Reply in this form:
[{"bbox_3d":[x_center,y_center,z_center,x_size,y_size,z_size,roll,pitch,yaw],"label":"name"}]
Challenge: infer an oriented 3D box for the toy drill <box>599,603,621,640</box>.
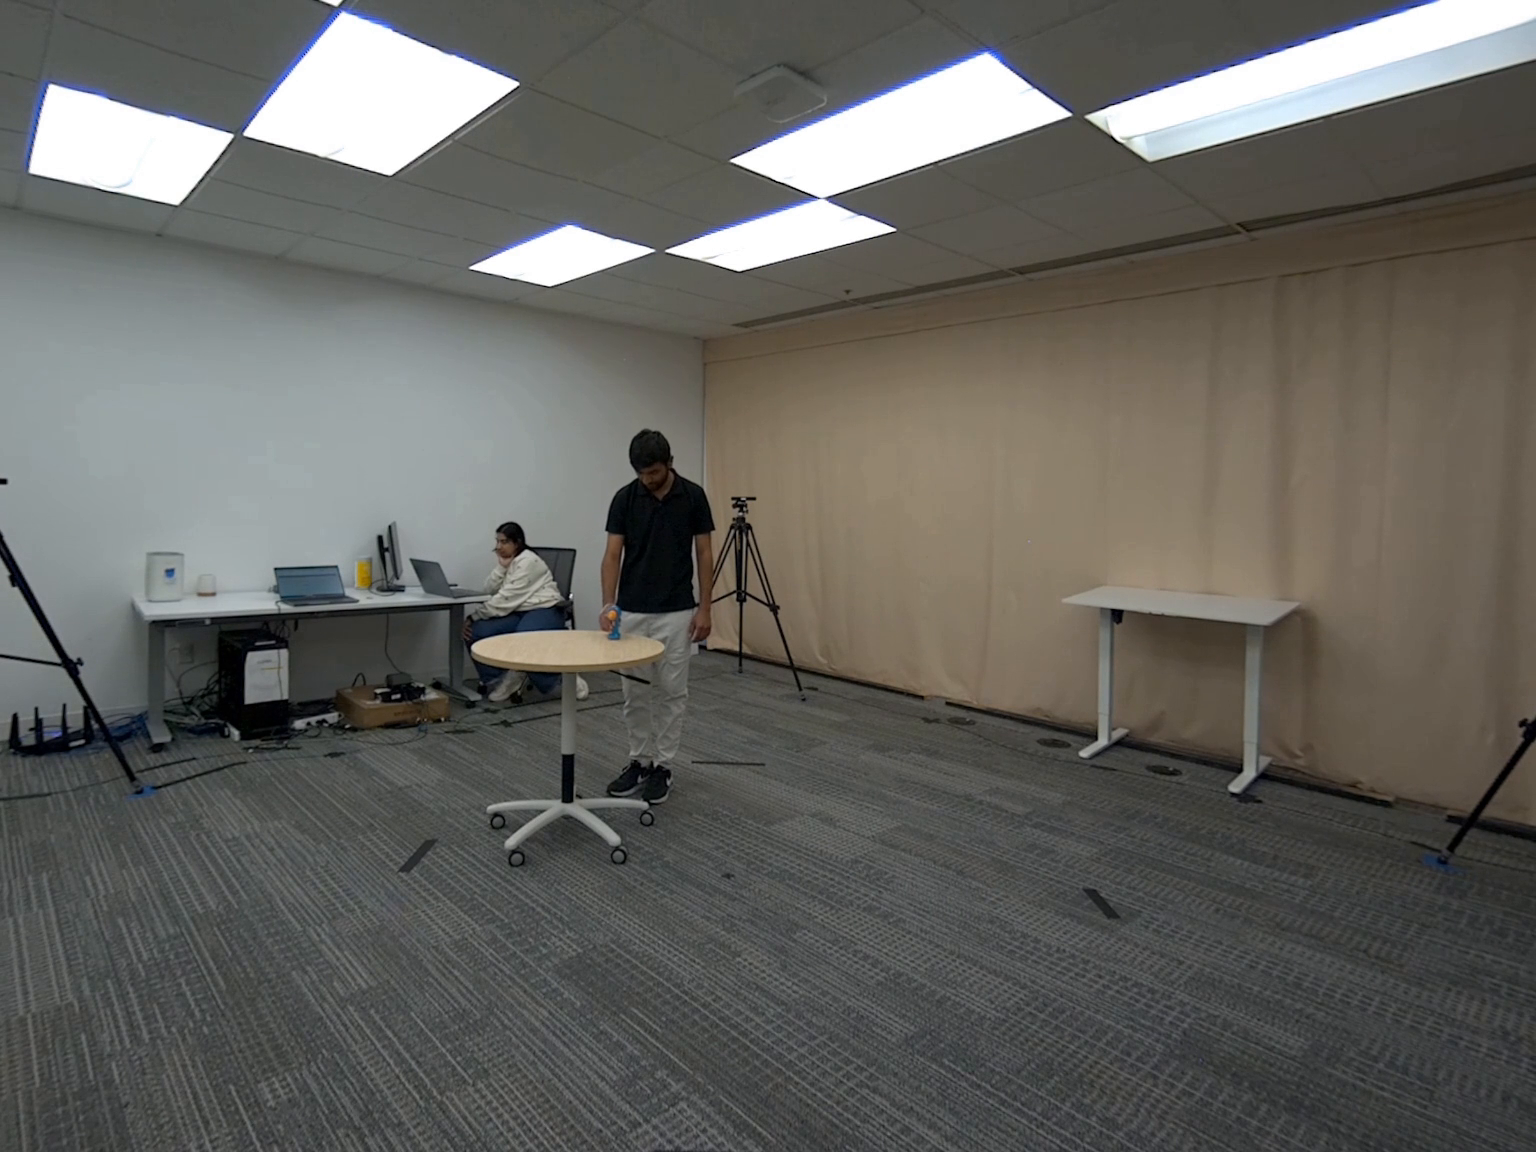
[{"bbox_3d":[-0.671,0.202,3.557,0.061,0.146,0.170,2,4,-3],"label":"toy drill"}]
